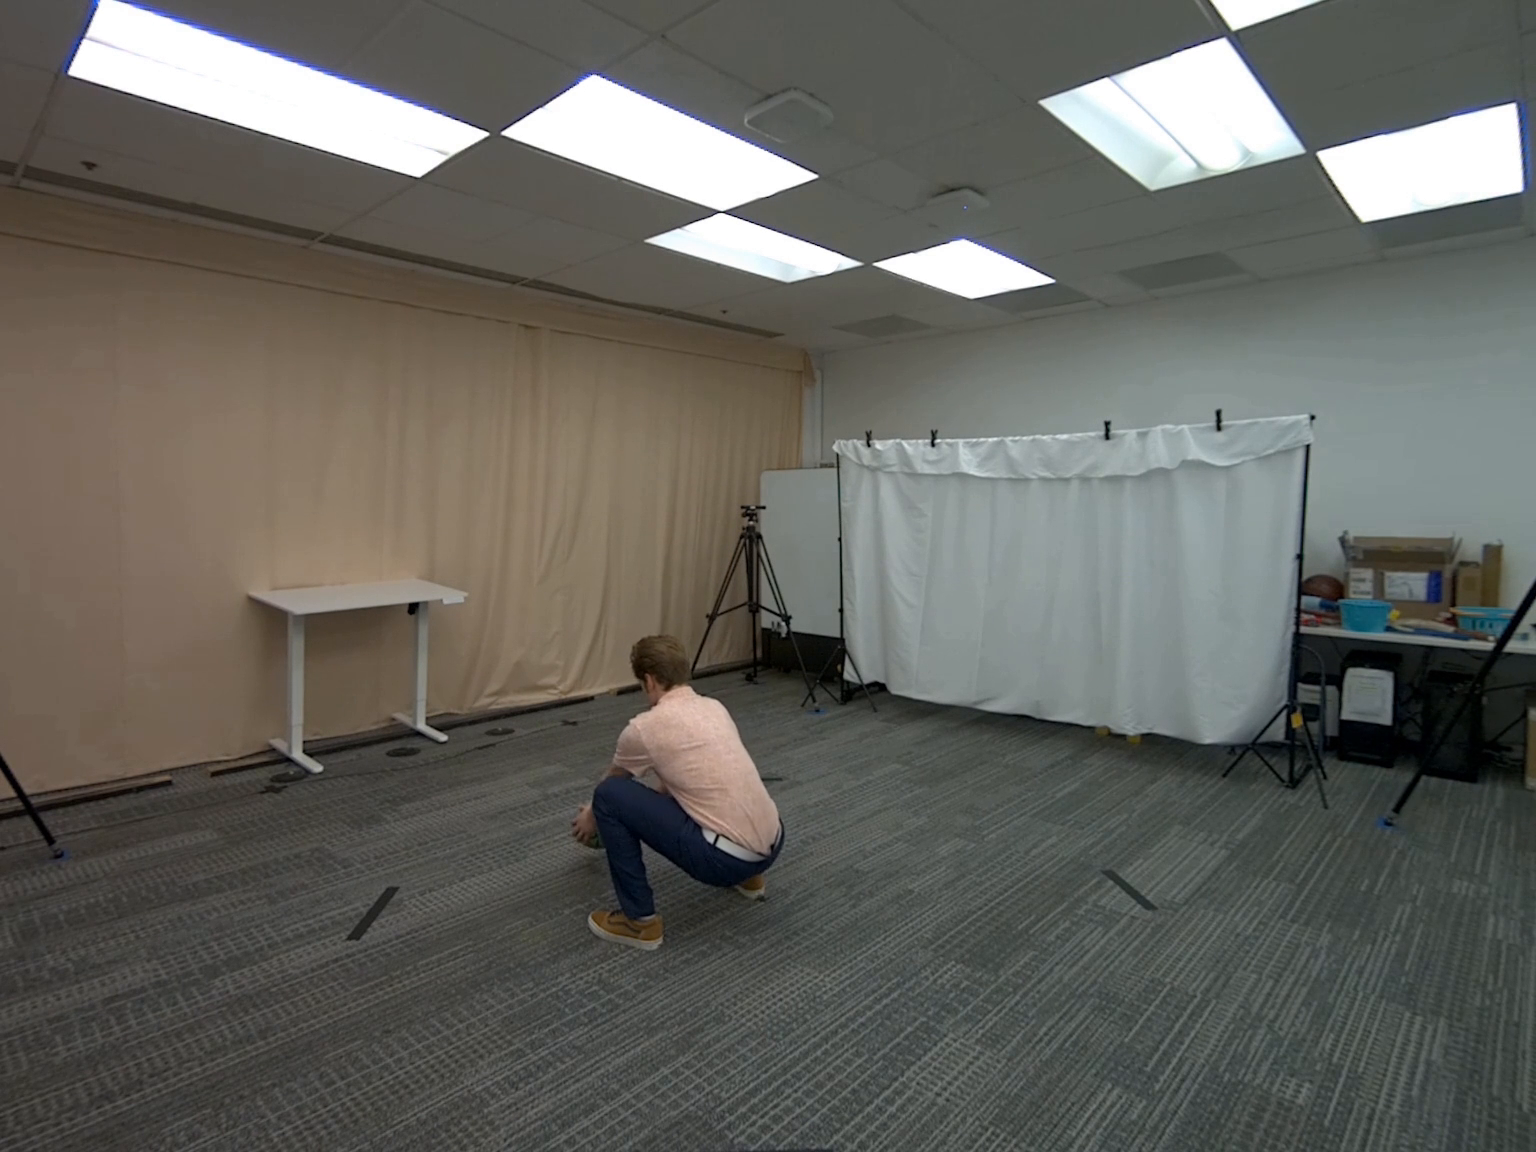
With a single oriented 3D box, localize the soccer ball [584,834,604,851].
[{"bbox_3d":[-0.658,0.957,3.269,0.187,0.187,0.188,0,4,-2],"label":"soccer ball"}]
